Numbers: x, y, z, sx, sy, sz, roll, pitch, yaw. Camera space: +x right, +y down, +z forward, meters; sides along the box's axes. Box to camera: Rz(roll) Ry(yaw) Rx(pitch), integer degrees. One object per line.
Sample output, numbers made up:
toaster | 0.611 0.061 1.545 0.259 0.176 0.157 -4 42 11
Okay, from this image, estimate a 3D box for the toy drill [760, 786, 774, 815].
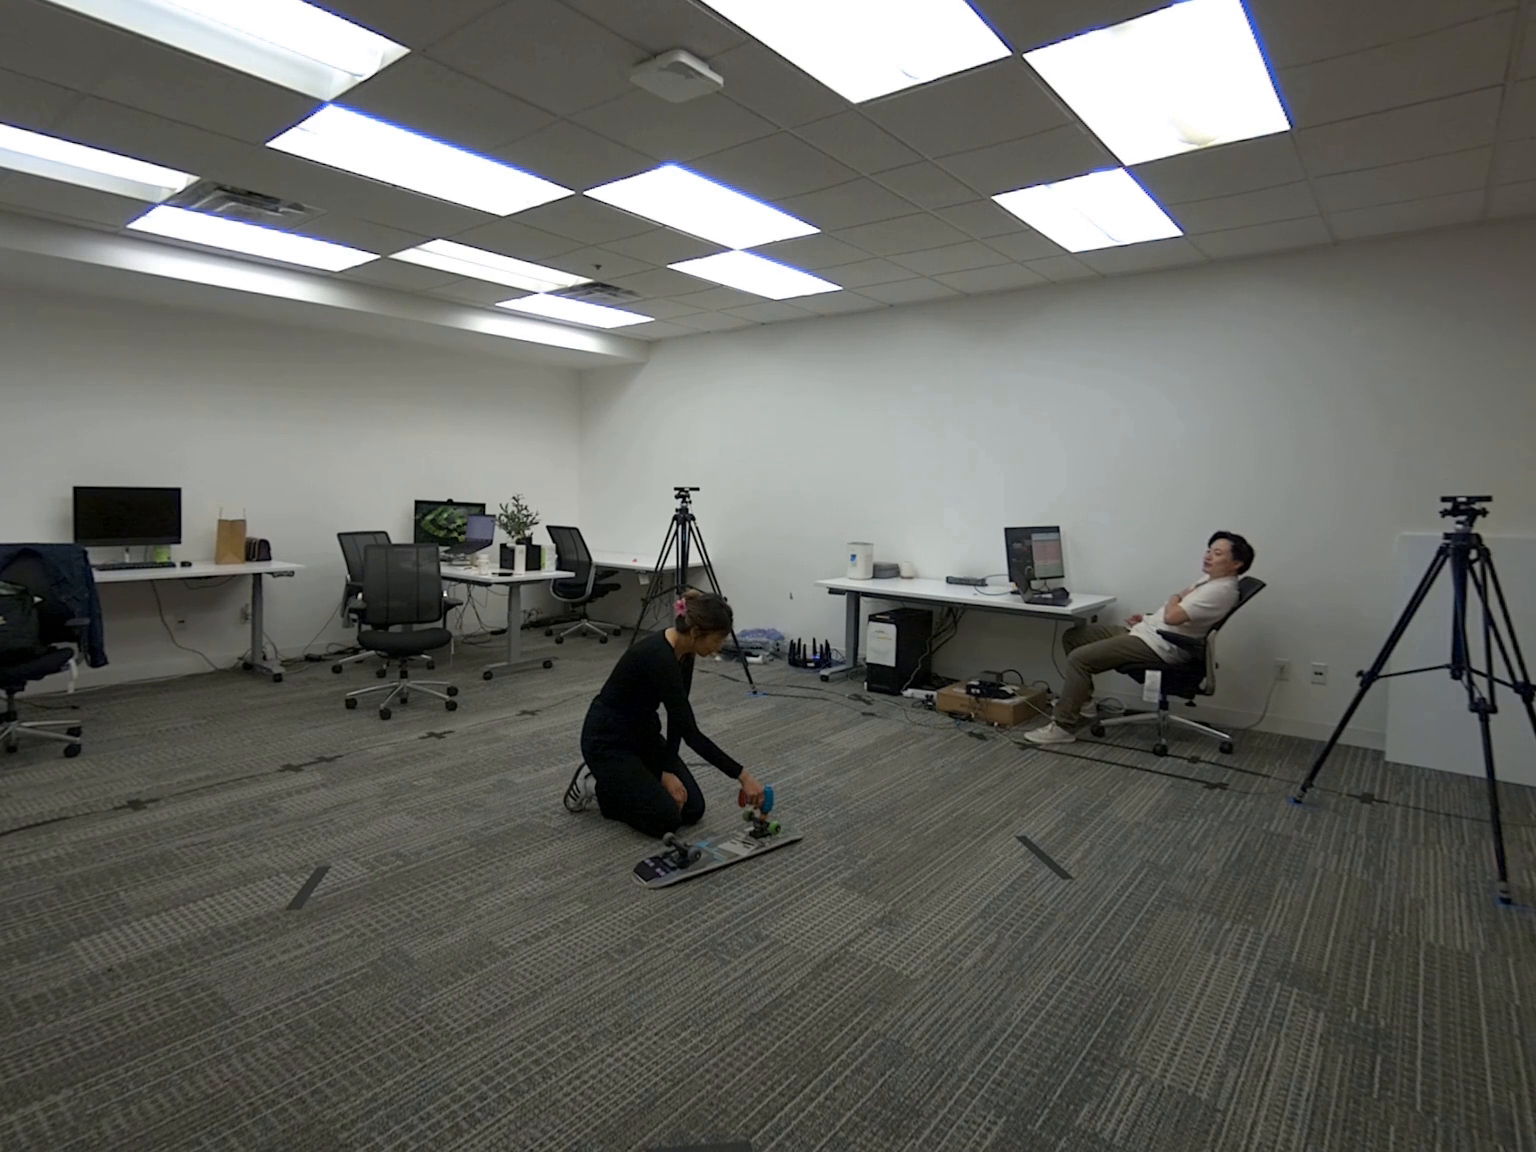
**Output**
toy drill | -0.062 0.912 3.362 0.143 0.168 0.063 11 14 -14
